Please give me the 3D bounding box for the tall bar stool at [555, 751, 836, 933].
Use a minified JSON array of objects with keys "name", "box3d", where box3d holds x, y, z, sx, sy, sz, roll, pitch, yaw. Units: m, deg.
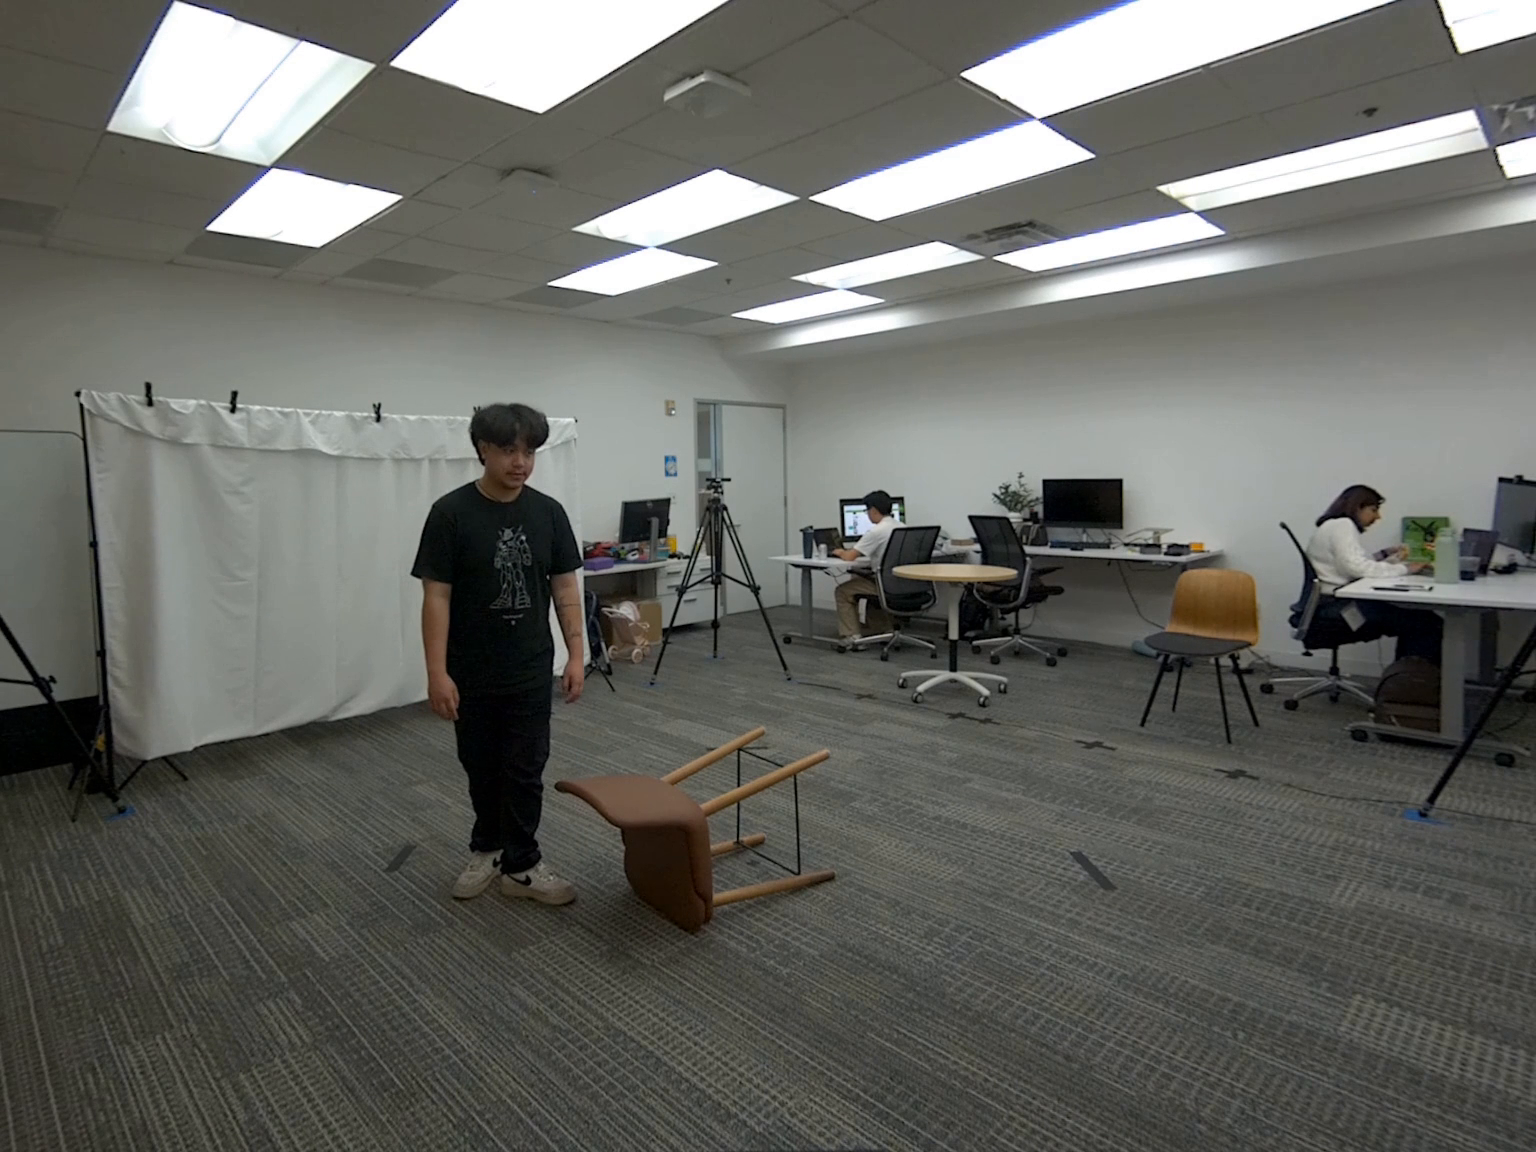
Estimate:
[{"name":"tall bar stool","box3d":[-0.233,0.845,2.850,0.866,0.465,0.471,-4,7,-39]}]
